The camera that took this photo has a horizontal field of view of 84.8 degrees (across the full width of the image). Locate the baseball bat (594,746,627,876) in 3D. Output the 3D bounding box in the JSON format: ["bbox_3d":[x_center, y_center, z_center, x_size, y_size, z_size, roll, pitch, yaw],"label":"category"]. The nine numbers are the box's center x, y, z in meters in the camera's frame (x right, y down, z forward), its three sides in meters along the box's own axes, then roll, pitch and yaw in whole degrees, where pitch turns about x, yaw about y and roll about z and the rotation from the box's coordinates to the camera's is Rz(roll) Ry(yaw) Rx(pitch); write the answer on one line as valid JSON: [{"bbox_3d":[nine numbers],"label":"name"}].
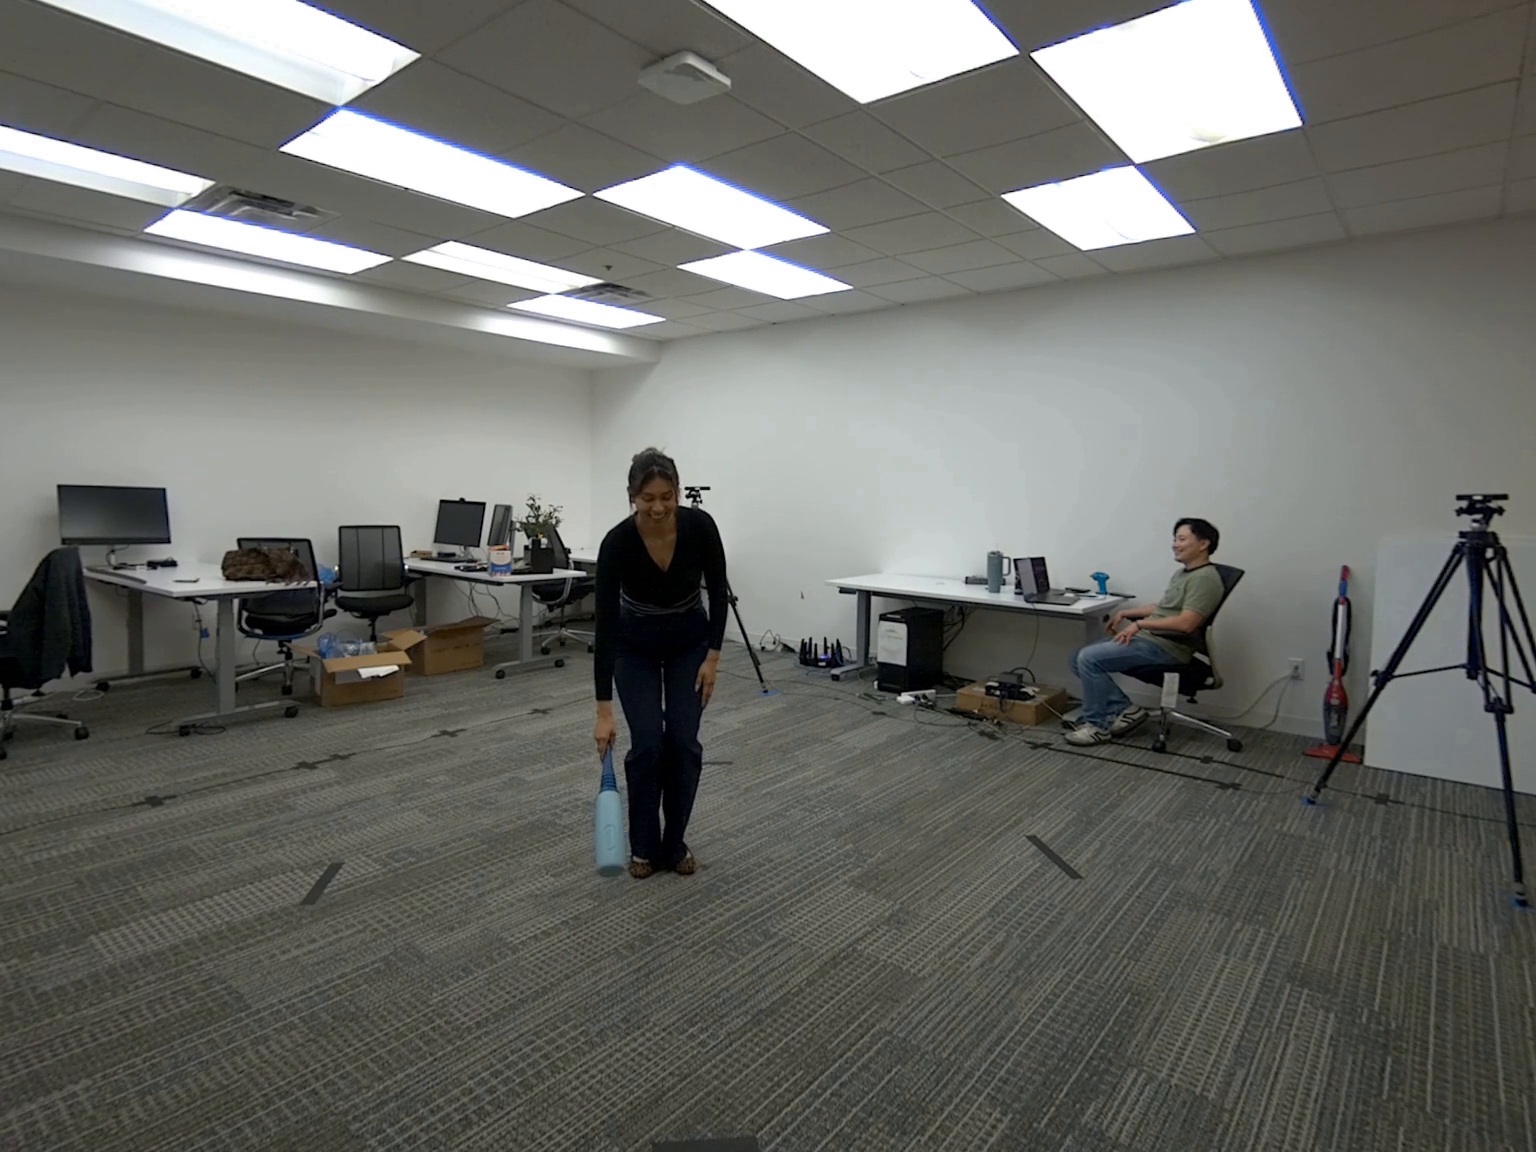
[{"bbox_3d":[-0.514,0.681,2.706,0.088,0.087,0.562,-1,45,-12],"label":"baseball bat"}]
